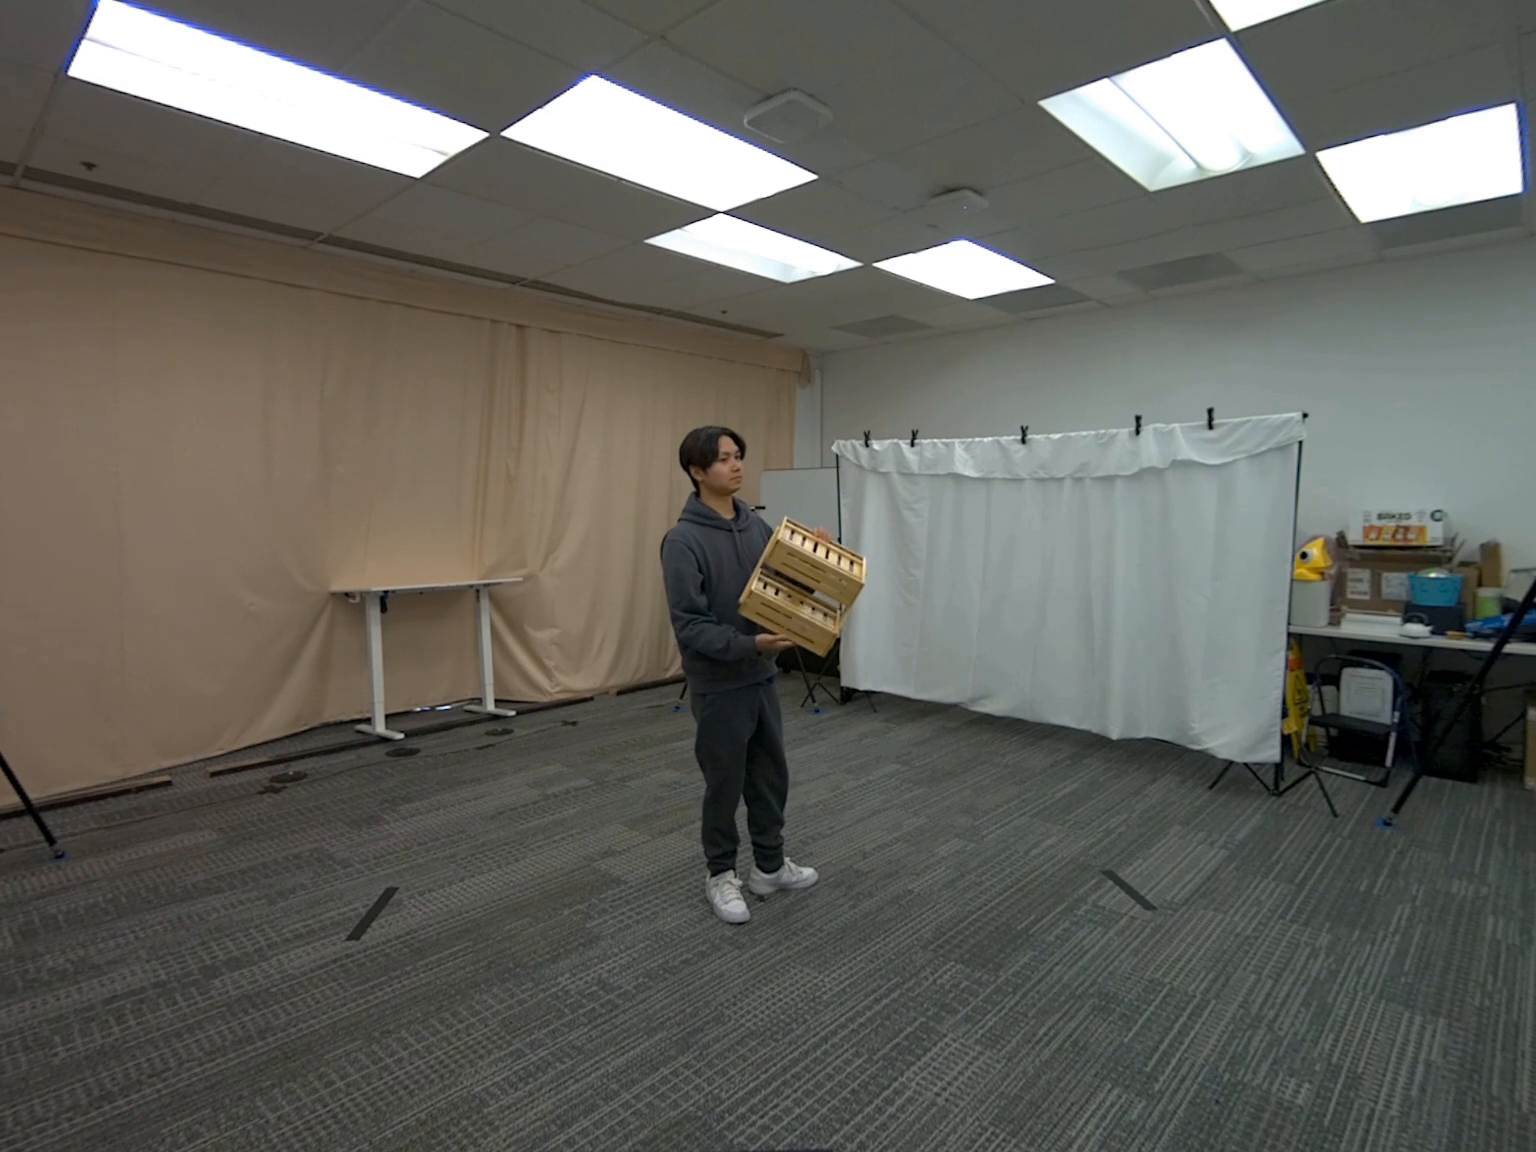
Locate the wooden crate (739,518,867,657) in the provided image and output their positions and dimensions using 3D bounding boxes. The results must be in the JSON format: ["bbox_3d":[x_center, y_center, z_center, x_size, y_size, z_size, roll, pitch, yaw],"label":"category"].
[{"bbox_3d":[0.118,0.028,2.699,0.325,0.273,0.302,27,23,0],"label":"wooden crate"}]
